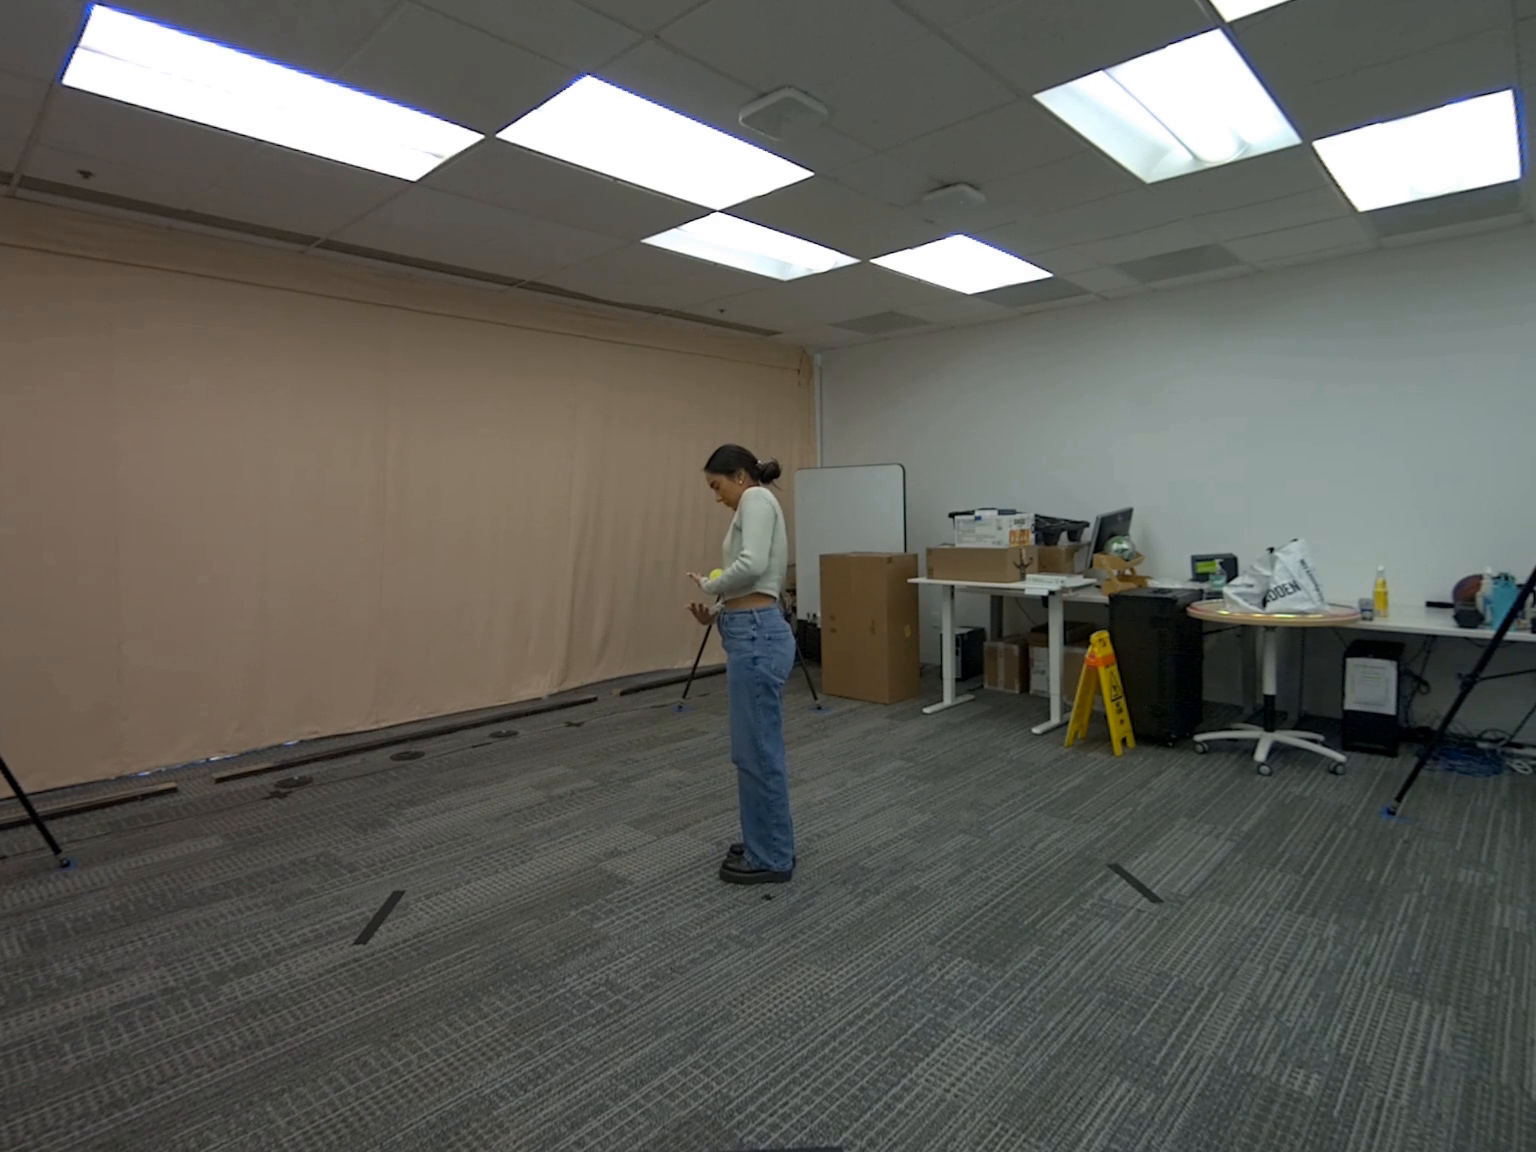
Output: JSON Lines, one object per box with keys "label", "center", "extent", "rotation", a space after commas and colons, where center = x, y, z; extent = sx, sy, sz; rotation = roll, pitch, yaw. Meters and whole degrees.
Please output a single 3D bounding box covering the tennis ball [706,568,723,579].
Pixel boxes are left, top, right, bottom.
{"label": "tennis ball", "center": [-0.181, 0.012, 3.058], "extent": [0.066, 0.066, 0.067], "rotation": [-1, 4, -2]}
